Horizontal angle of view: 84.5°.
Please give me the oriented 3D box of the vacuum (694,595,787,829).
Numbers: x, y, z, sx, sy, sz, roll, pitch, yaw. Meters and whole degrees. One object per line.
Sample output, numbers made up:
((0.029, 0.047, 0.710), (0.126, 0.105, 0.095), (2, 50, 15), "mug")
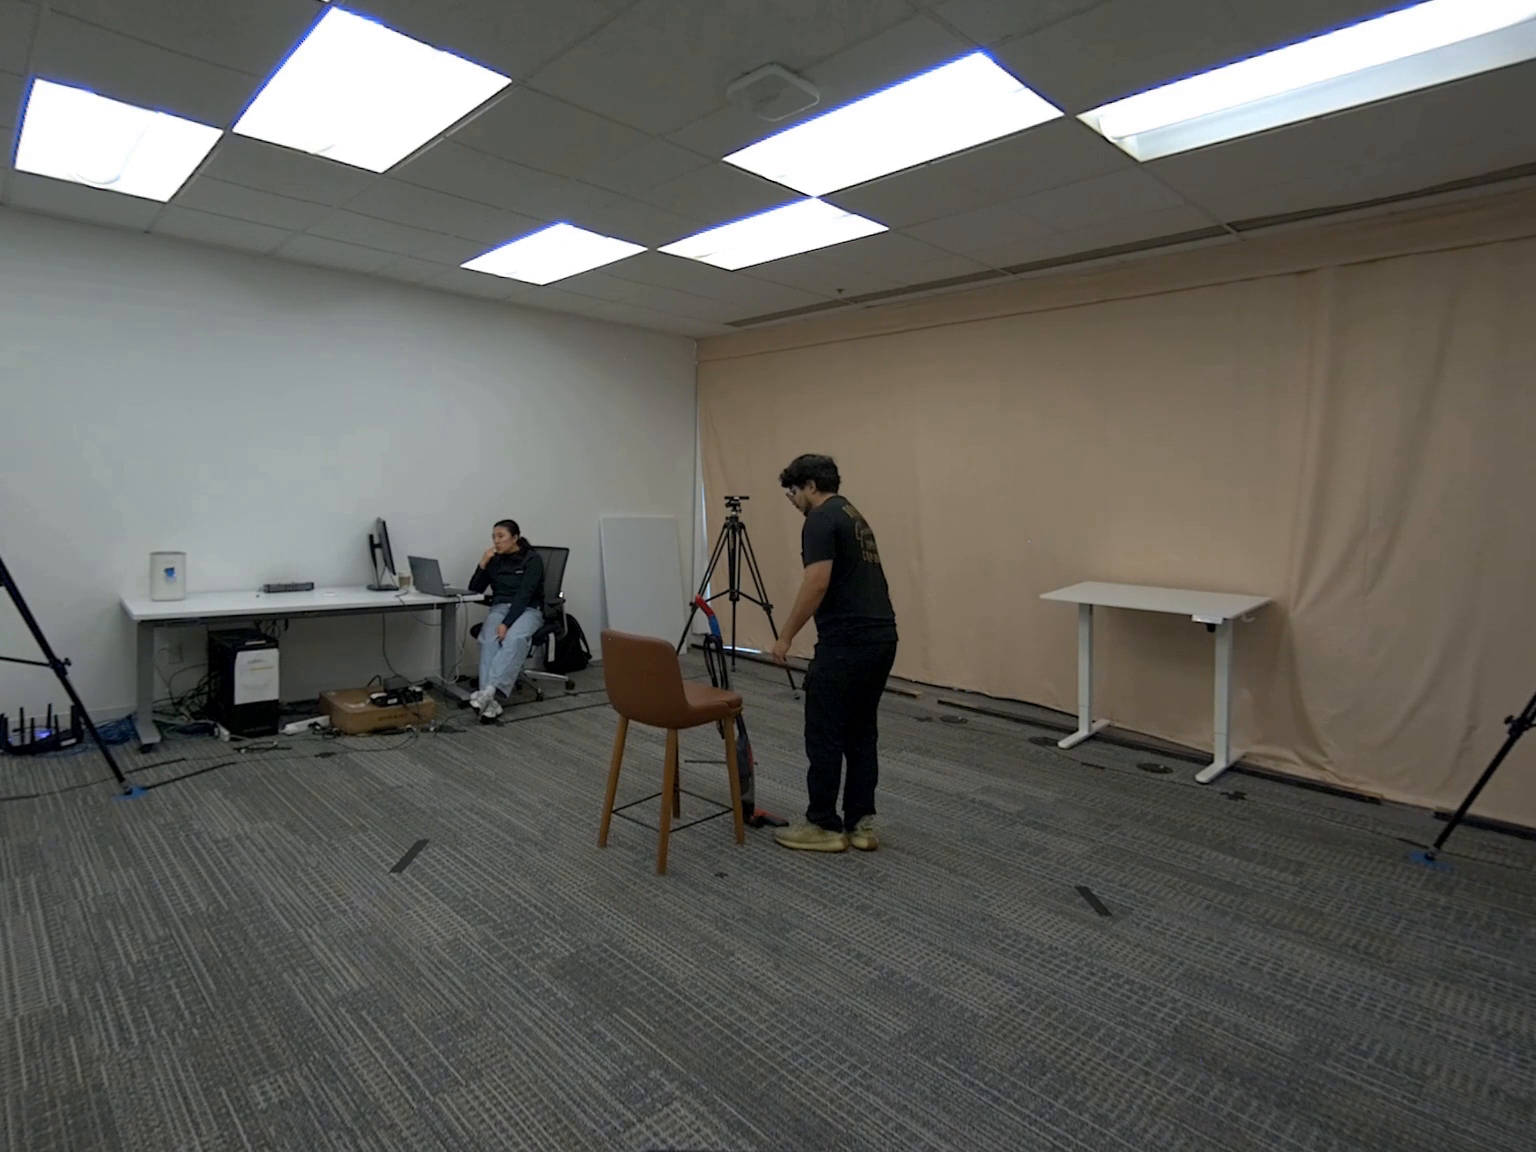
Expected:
((-0.159, 0.572, 3.506), (0.259, 1.034, 0.142), (4, 23, 46), "vacuum")
